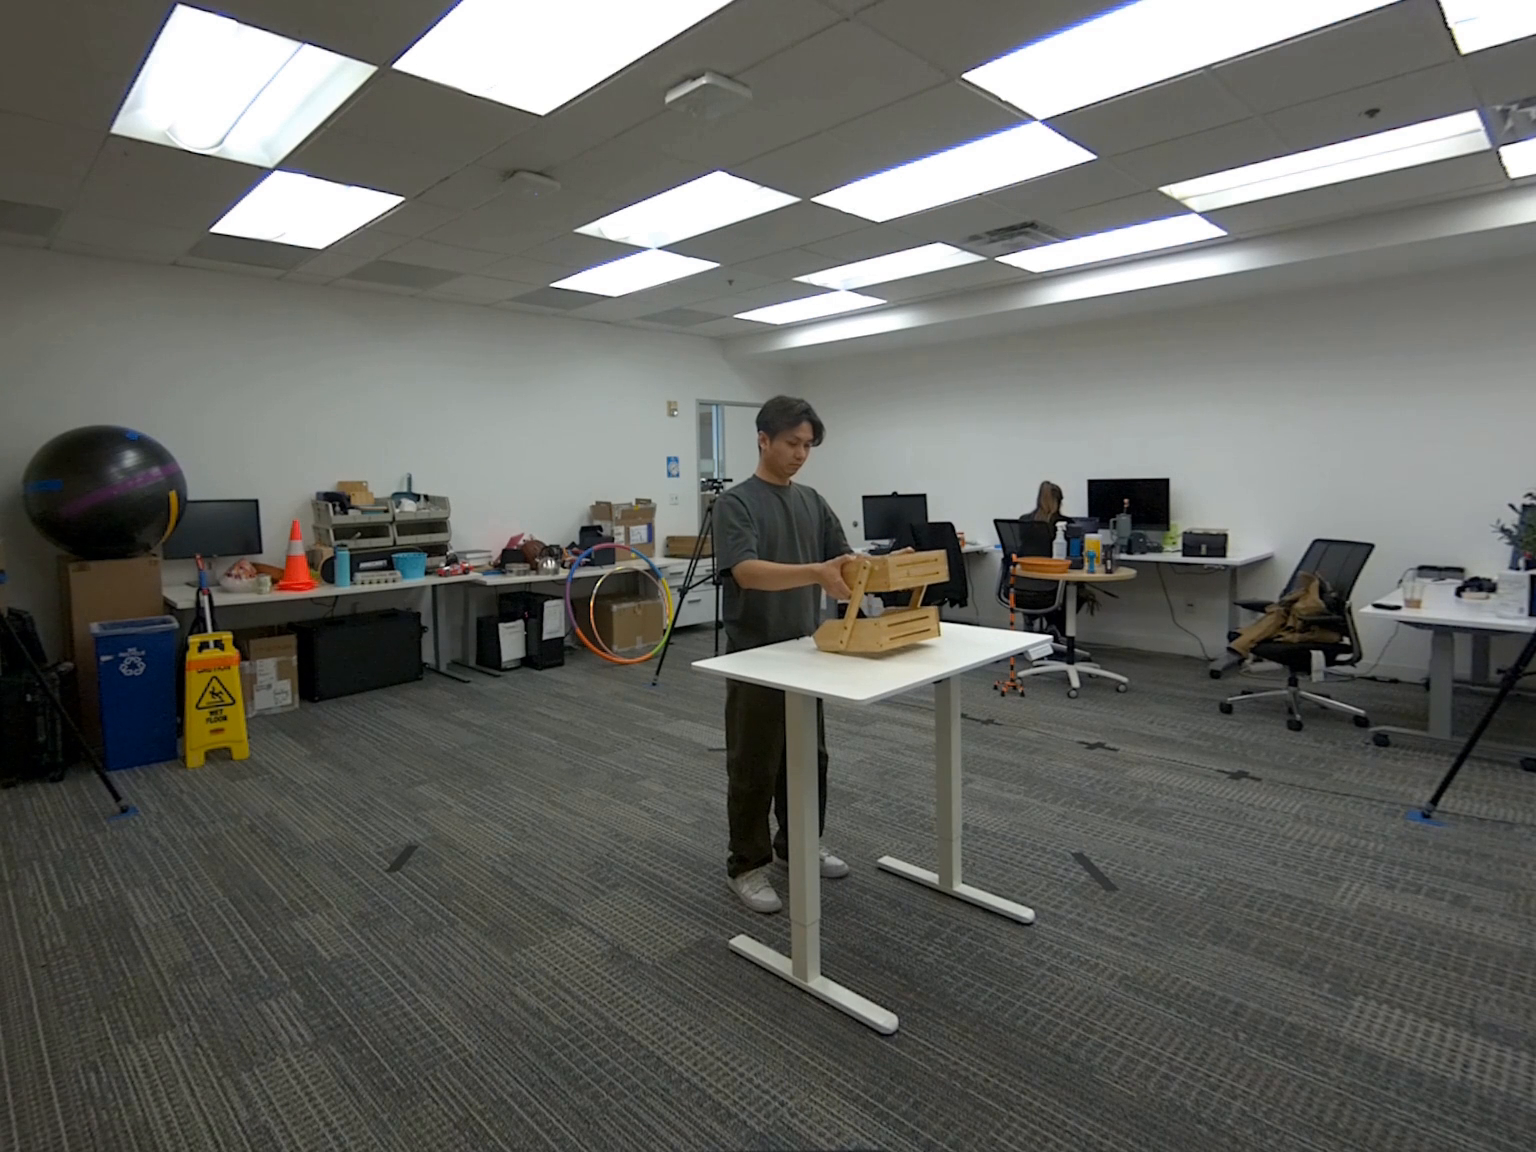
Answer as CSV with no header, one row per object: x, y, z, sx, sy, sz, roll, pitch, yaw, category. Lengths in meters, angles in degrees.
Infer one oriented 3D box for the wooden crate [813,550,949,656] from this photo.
0.335,0.069,2.561,0.316,0.273,0.310,-6,1,-43,wooden crate
